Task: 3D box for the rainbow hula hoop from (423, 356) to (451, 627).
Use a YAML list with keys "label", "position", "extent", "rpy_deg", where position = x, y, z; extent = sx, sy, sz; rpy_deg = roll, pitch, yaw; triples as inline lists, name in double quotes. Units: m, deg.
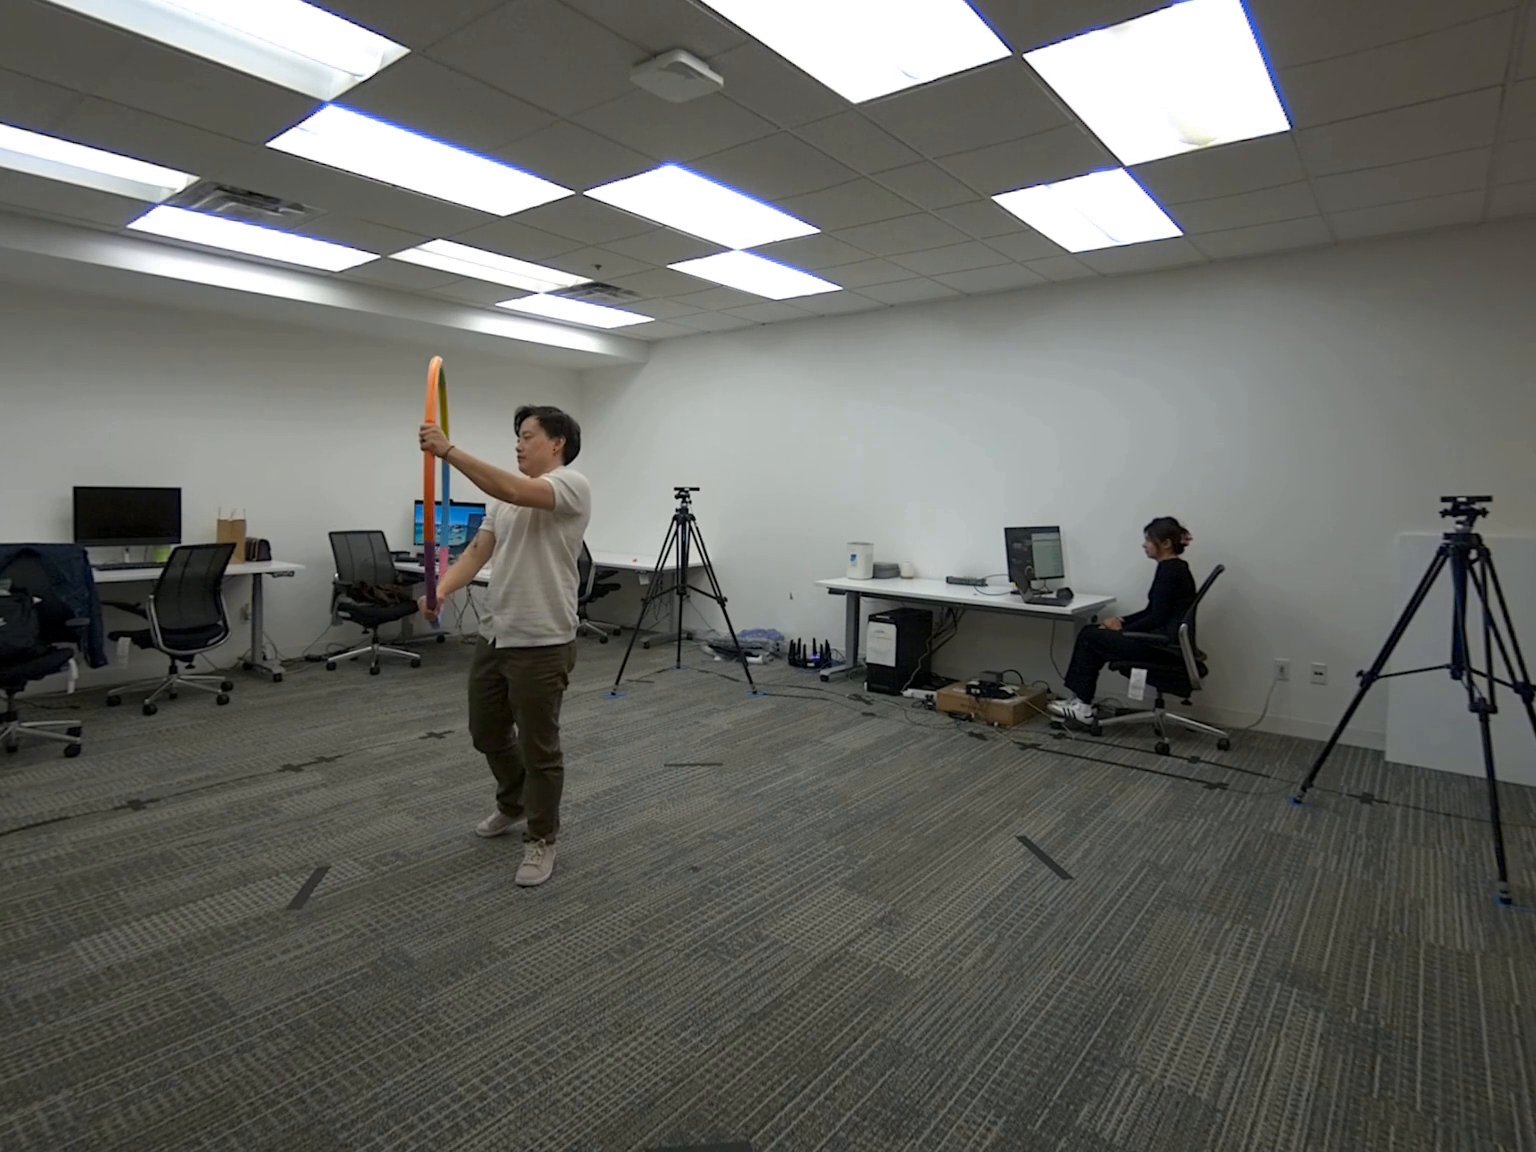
- label: "rainbow hula hoop"
  position: [-1.209, -0.290, 3.080]
  extent: [0.035, 0.975, 1.000]
  rpy_deg: [-2, 5, -19]
